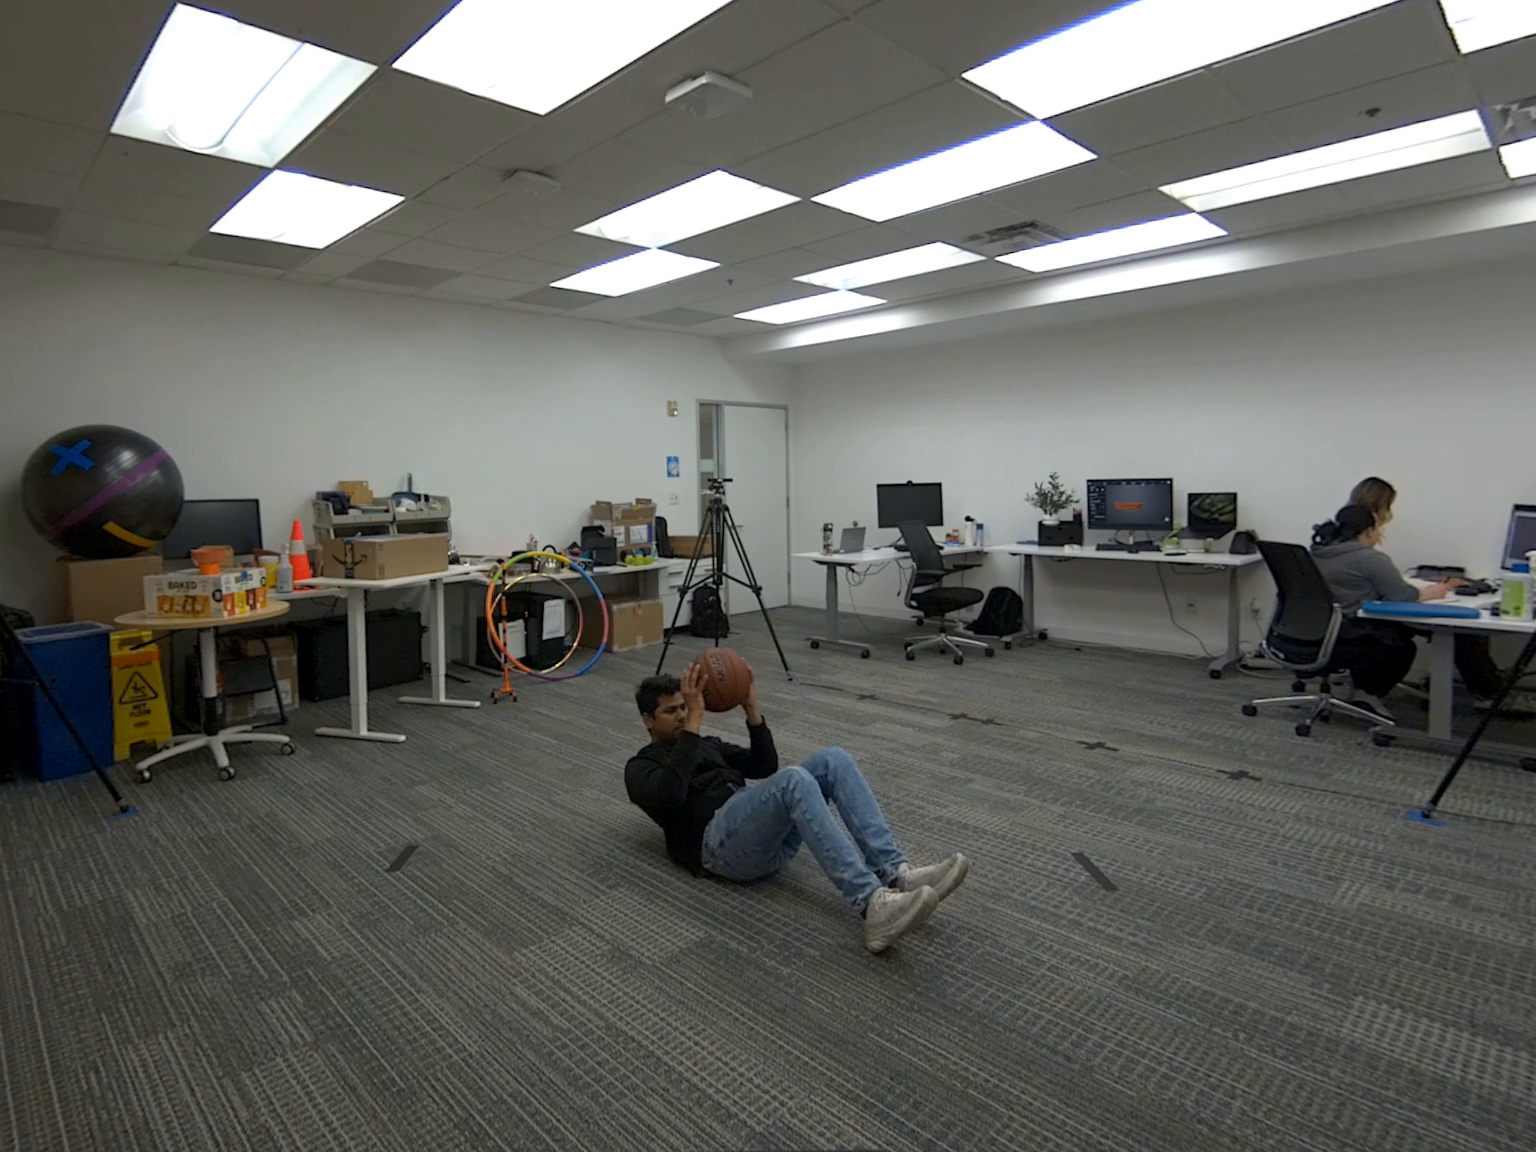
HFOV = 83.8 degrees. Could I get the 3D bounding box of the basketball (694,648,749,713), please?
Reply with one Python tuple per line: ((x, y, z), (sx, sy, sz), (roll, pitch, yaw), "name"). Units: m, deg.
((-0.225, 0.395, 3.176), (0.236, 0.235, 0.237), (-1, 5, -2), "basketball")
